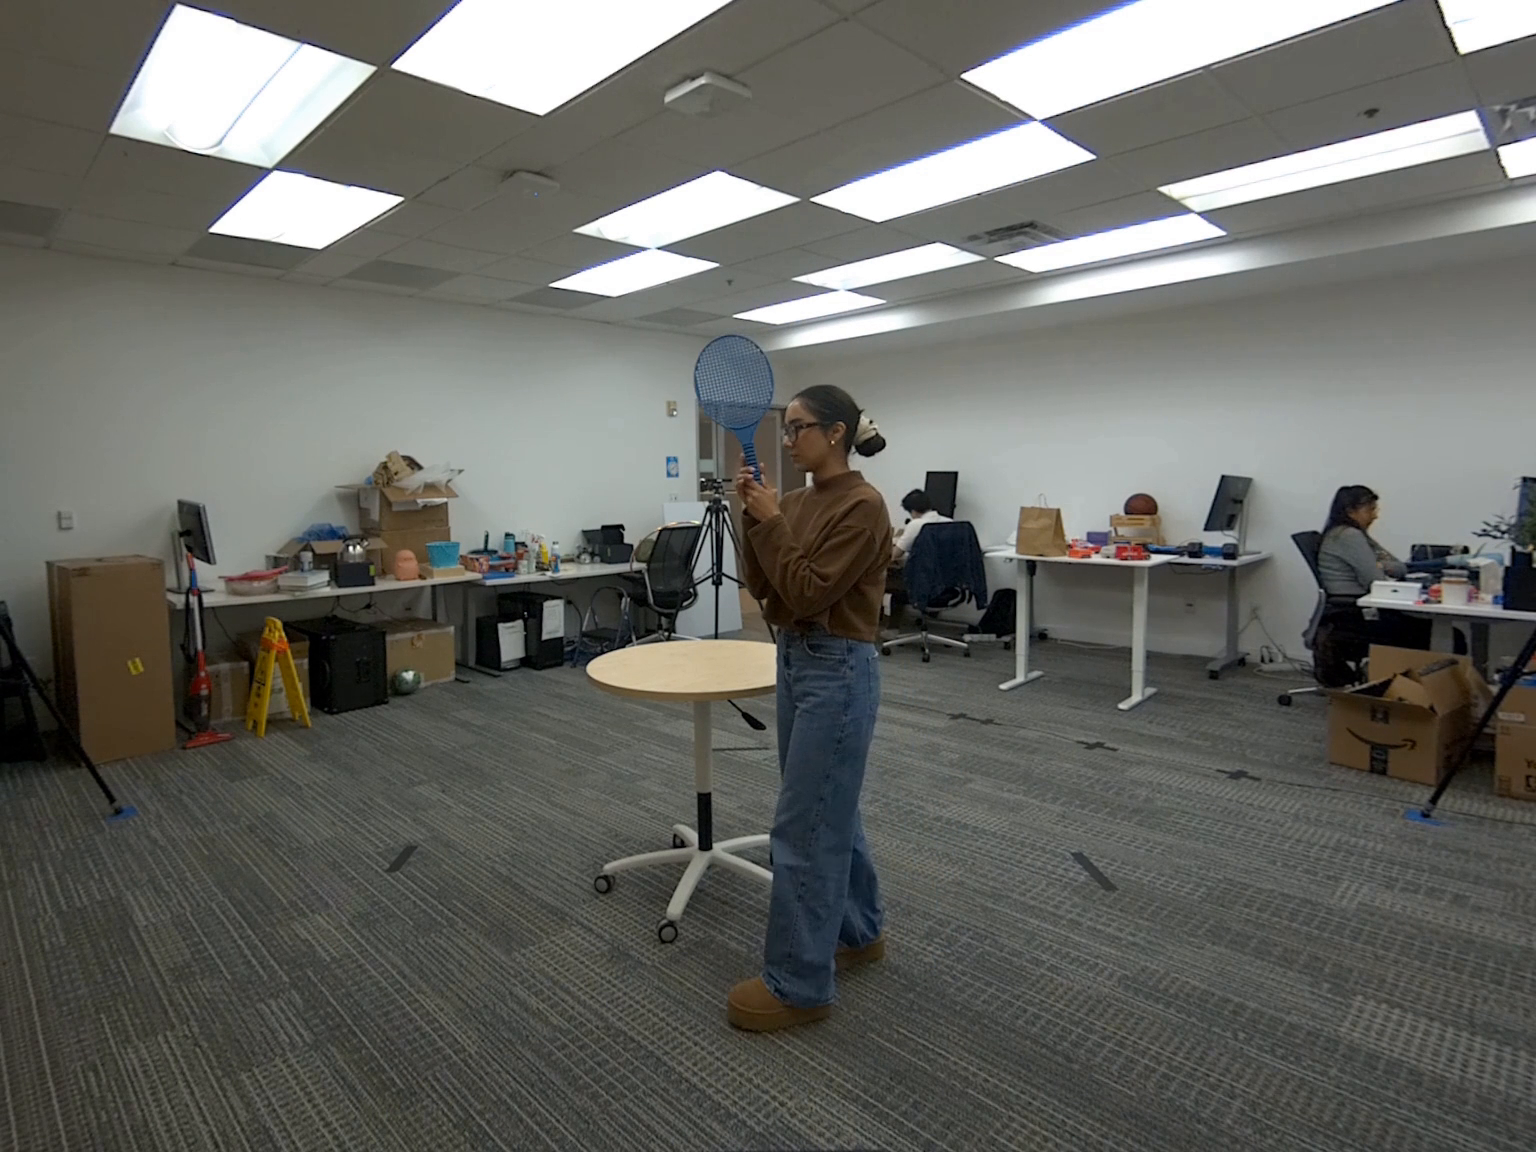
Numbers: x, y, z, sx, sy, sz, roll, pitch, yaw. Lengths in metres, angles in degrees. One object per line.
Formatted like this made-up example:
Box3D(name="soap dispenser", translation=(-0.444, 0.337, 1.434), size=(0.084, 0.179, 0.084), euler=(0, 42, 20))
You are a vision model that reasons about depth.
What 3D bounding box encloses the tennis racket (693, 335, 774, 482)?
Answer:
Box3D(name="tennis racket", translation=(-0.060, -0.446, 2.268), size=(0.214, 0.436, 0.031), euler=(-13, -7, 5))
